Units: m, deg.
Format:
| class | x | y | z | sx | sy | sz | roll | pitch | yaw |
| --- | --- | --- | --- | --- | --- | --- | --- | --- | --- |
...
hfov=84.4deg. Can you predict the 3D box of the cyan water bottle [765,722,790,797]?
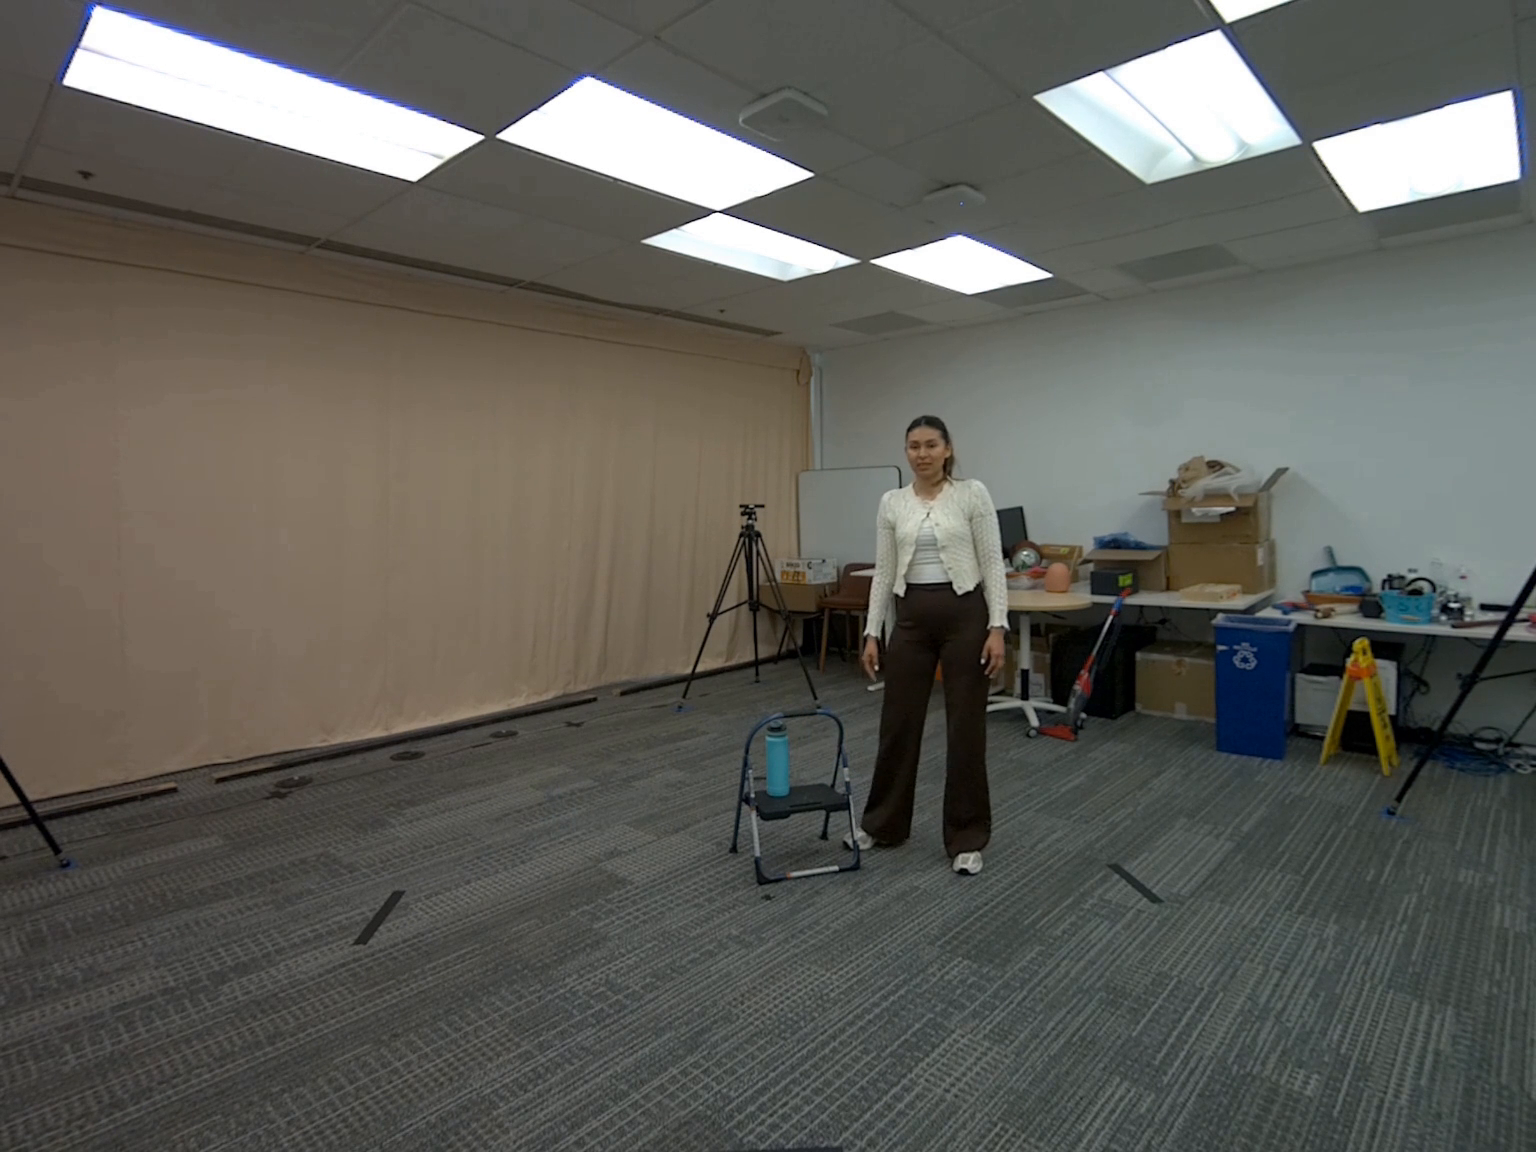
| class | x | y | z | sx | sy | sz | roll | pitch | yaw |
| --- | --- | --- | --- | --- | --- | --- | --- | --- | --- |
| cyan water bottle | 0.044 | 0.716 | 3.307 | 0.092 | 0.283 | 0.092 | 0 | 0 | -2 |
